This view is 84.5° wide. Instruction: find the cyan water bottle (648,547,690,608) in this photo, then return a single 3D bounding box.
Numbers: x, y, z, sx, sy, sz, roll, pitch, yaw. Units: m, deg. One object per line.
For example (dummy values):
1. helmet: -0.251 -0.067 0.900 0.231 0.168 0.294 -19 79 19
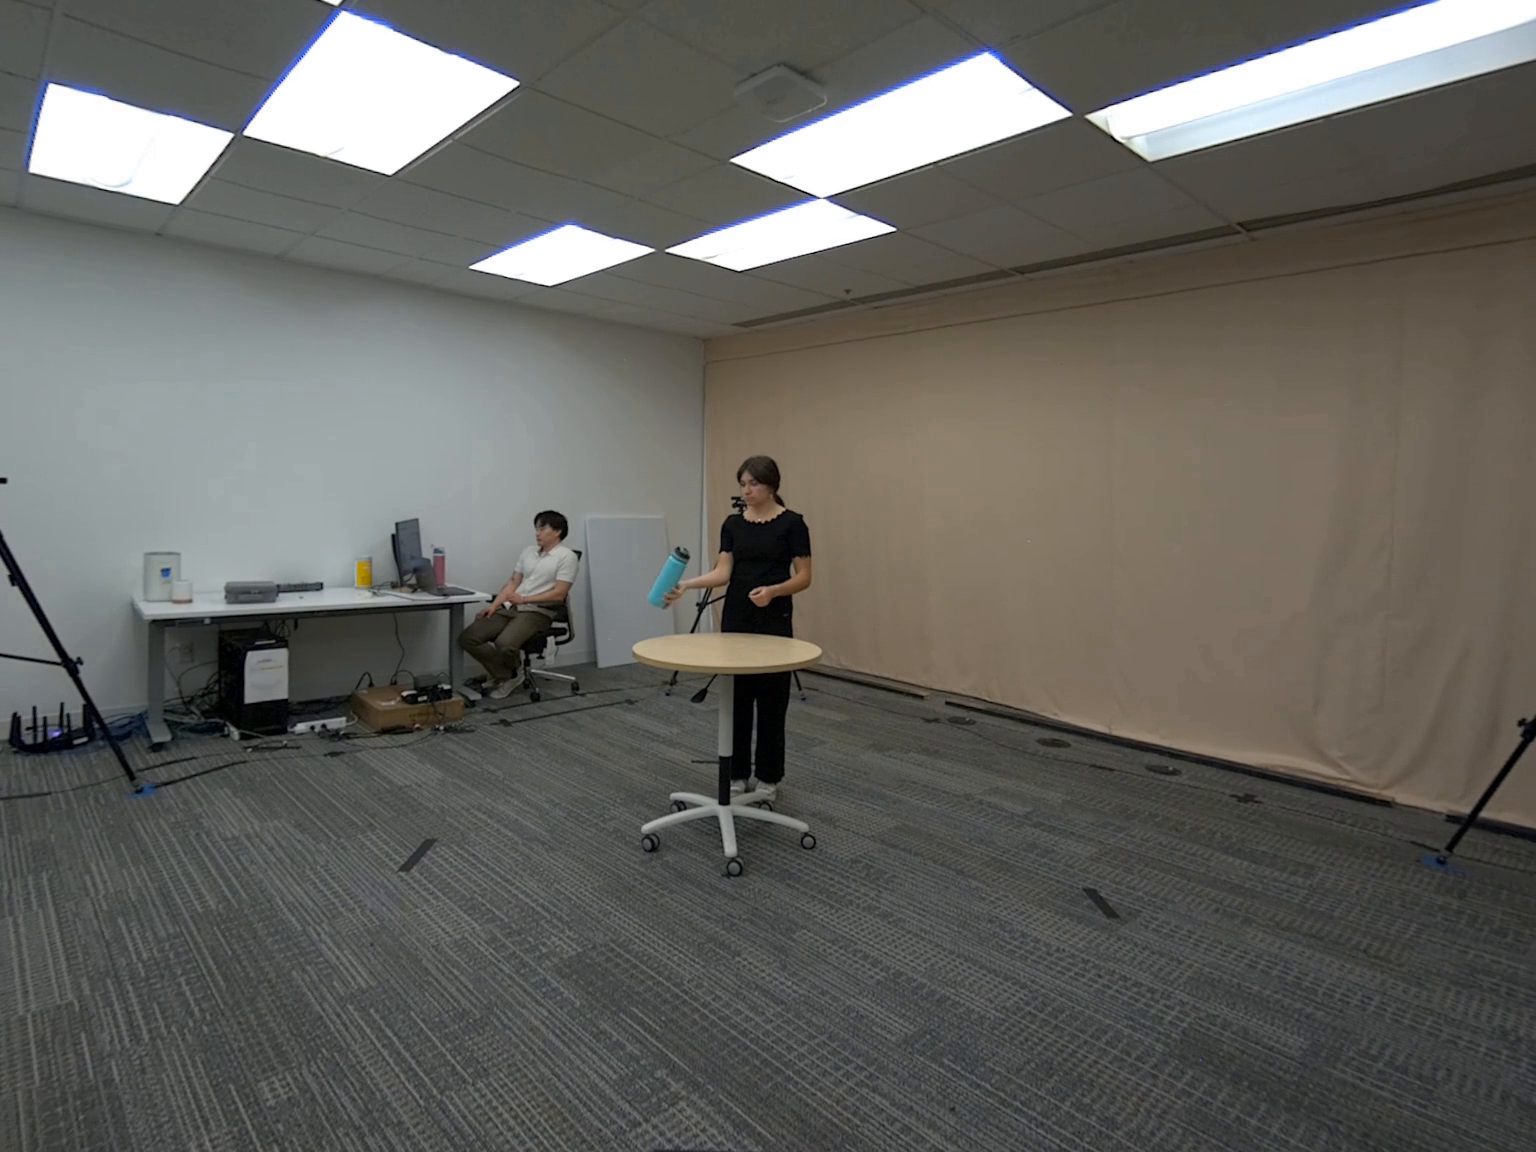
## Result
1. cyan water bottle: -0.435 -0.010 3.700 0.092 0.282 0.093 28 10 -7
